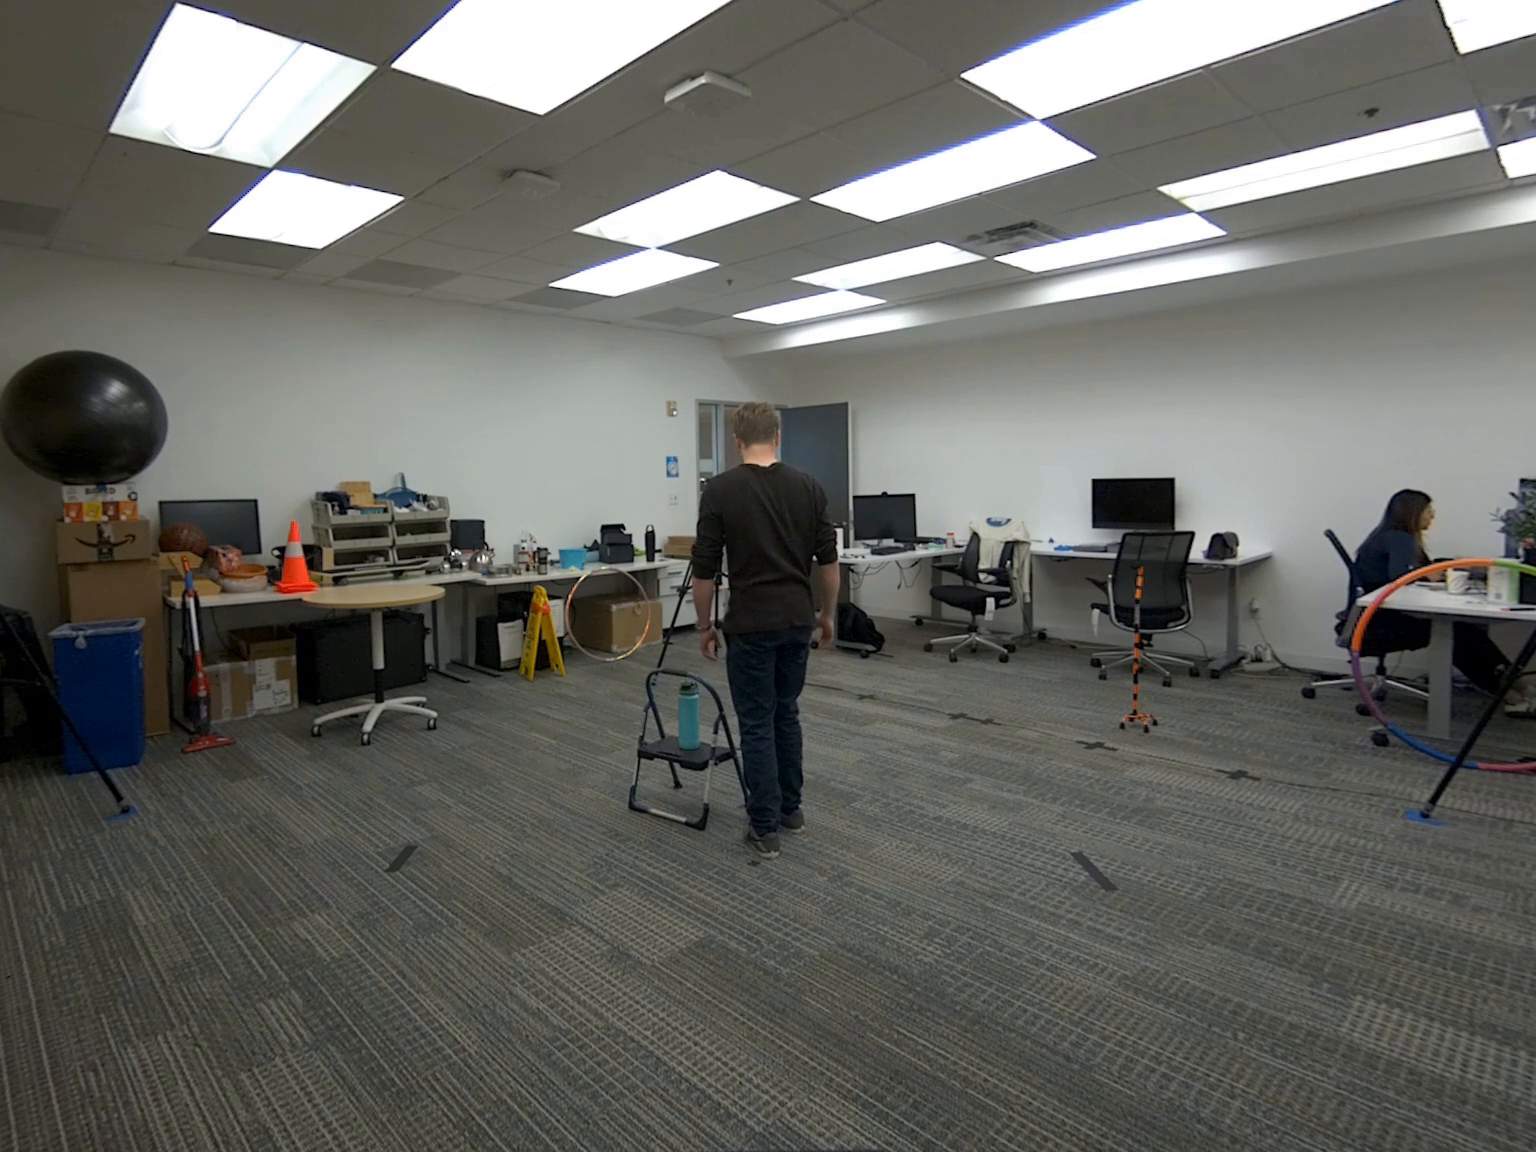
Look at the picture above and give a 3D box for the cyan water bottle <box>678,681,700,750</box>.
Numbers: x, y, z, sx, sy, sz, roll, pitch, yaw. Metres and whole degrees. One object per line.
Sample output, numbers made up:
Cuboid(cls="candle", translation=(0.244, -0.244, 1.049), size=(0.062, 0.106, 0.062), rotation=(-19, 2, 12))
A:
Cuboid(cls="cyan water bottle", translation=(-0.339, 0.587, 3.645), size=(0.092, 0.283, 0.092), rotation=(-1, 2, -2))
